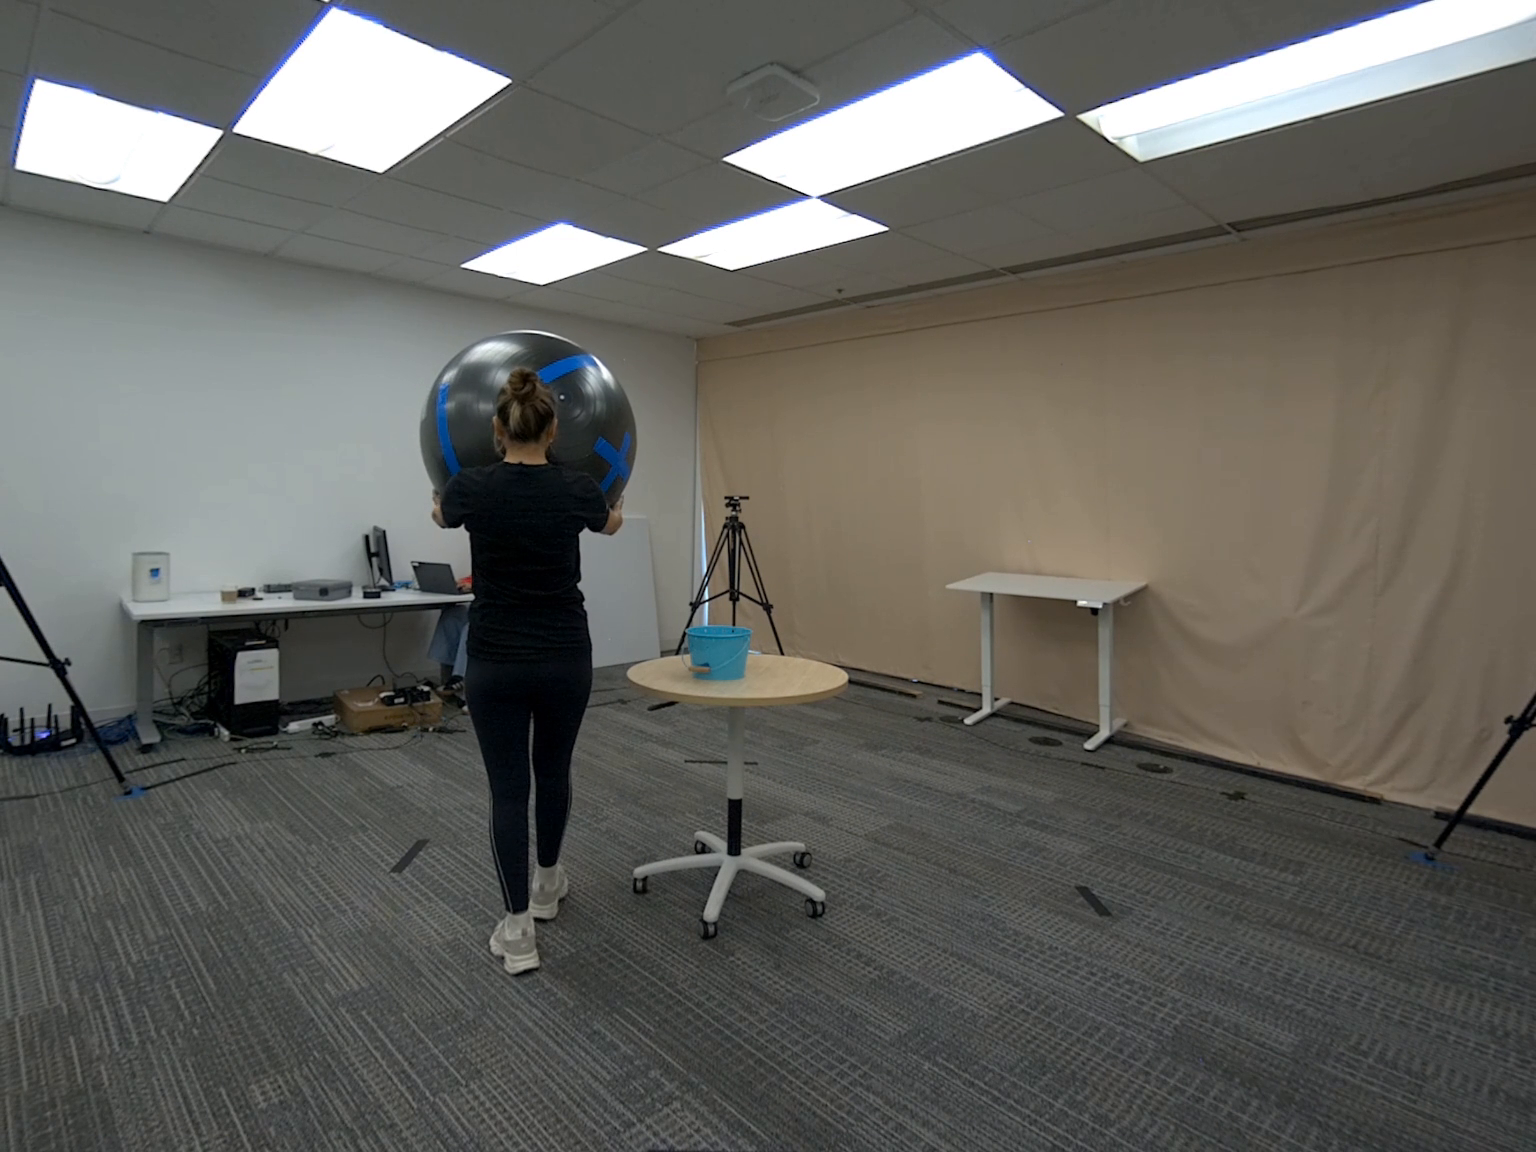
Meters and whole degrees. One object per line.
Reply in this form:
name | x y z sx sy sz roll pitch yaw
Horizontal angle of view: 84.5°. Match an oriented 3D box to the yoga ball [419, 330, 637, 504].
yoga ball | -0.861 -0.490 3.034 0.757 0.756 0.761 1 4 -1
